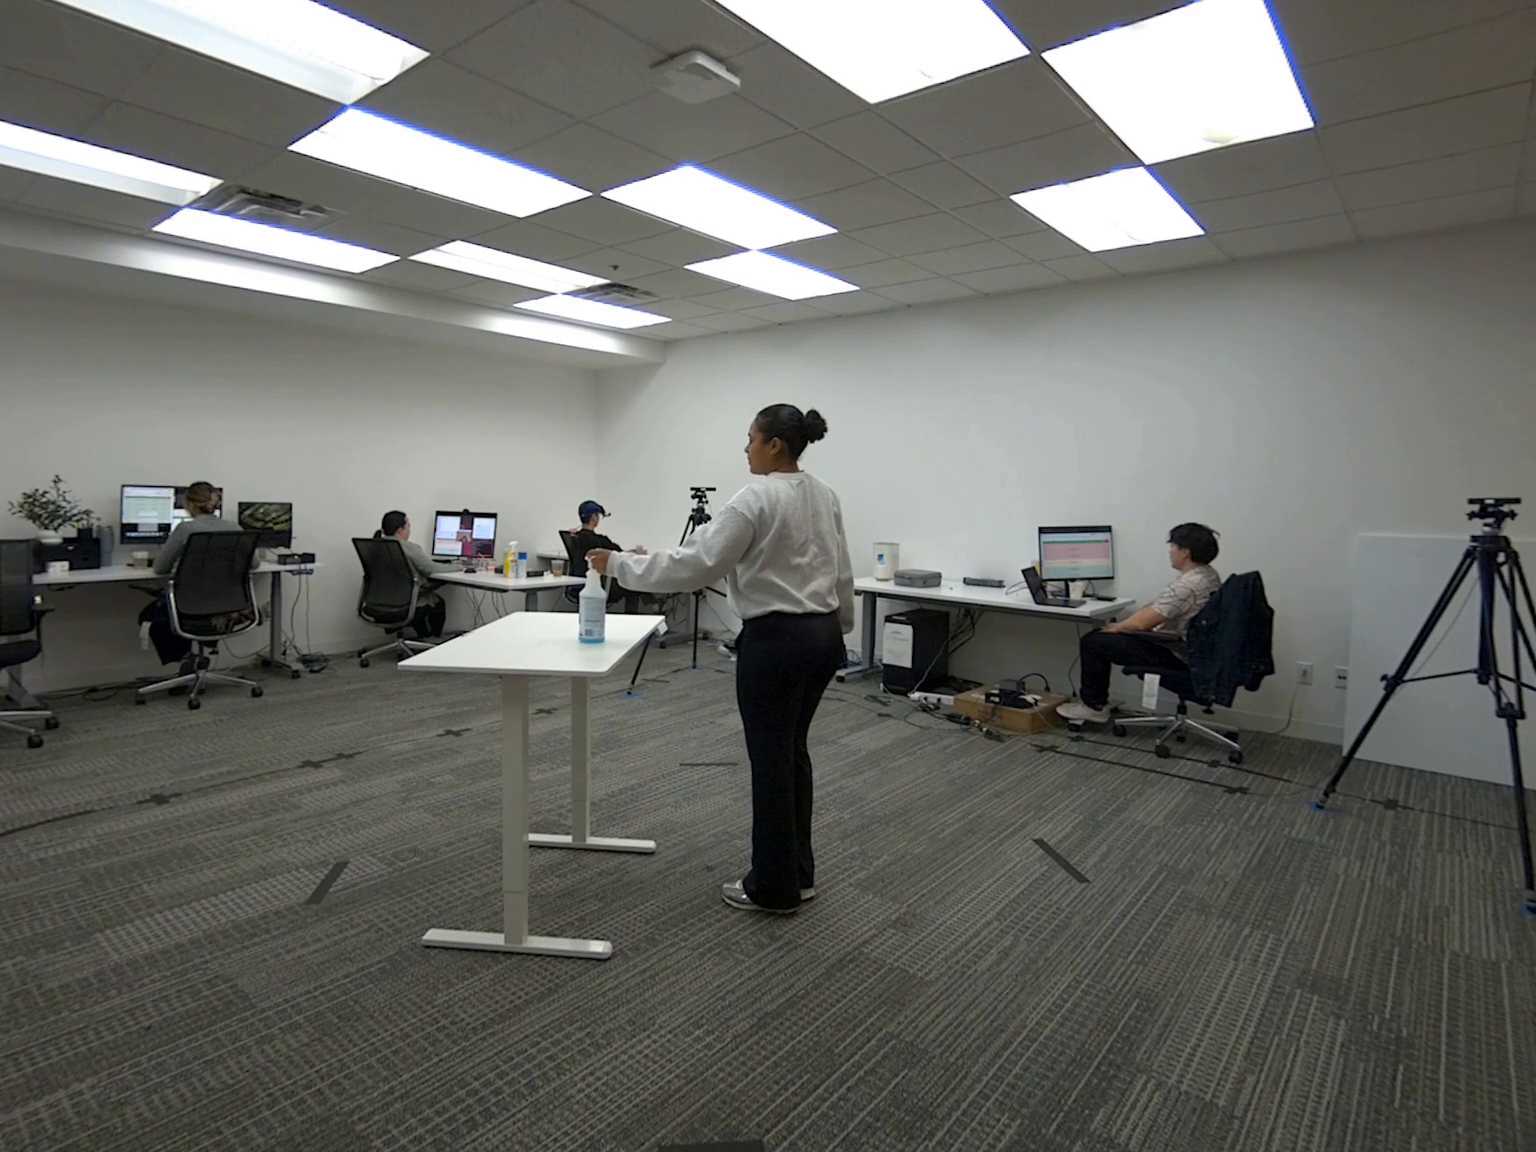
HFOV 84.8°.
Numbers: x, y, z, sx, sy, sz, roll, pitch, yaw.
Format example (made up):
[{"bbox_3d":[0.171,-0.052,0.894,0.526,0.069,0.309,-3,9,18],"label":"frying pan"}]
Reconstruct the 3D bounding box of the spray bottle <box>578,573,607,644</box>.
[{"bbox_3d":[-0.583,0.064,2.777,0.085,0.296,0.092,1,5,-23],"label":"spray bottle"}]
